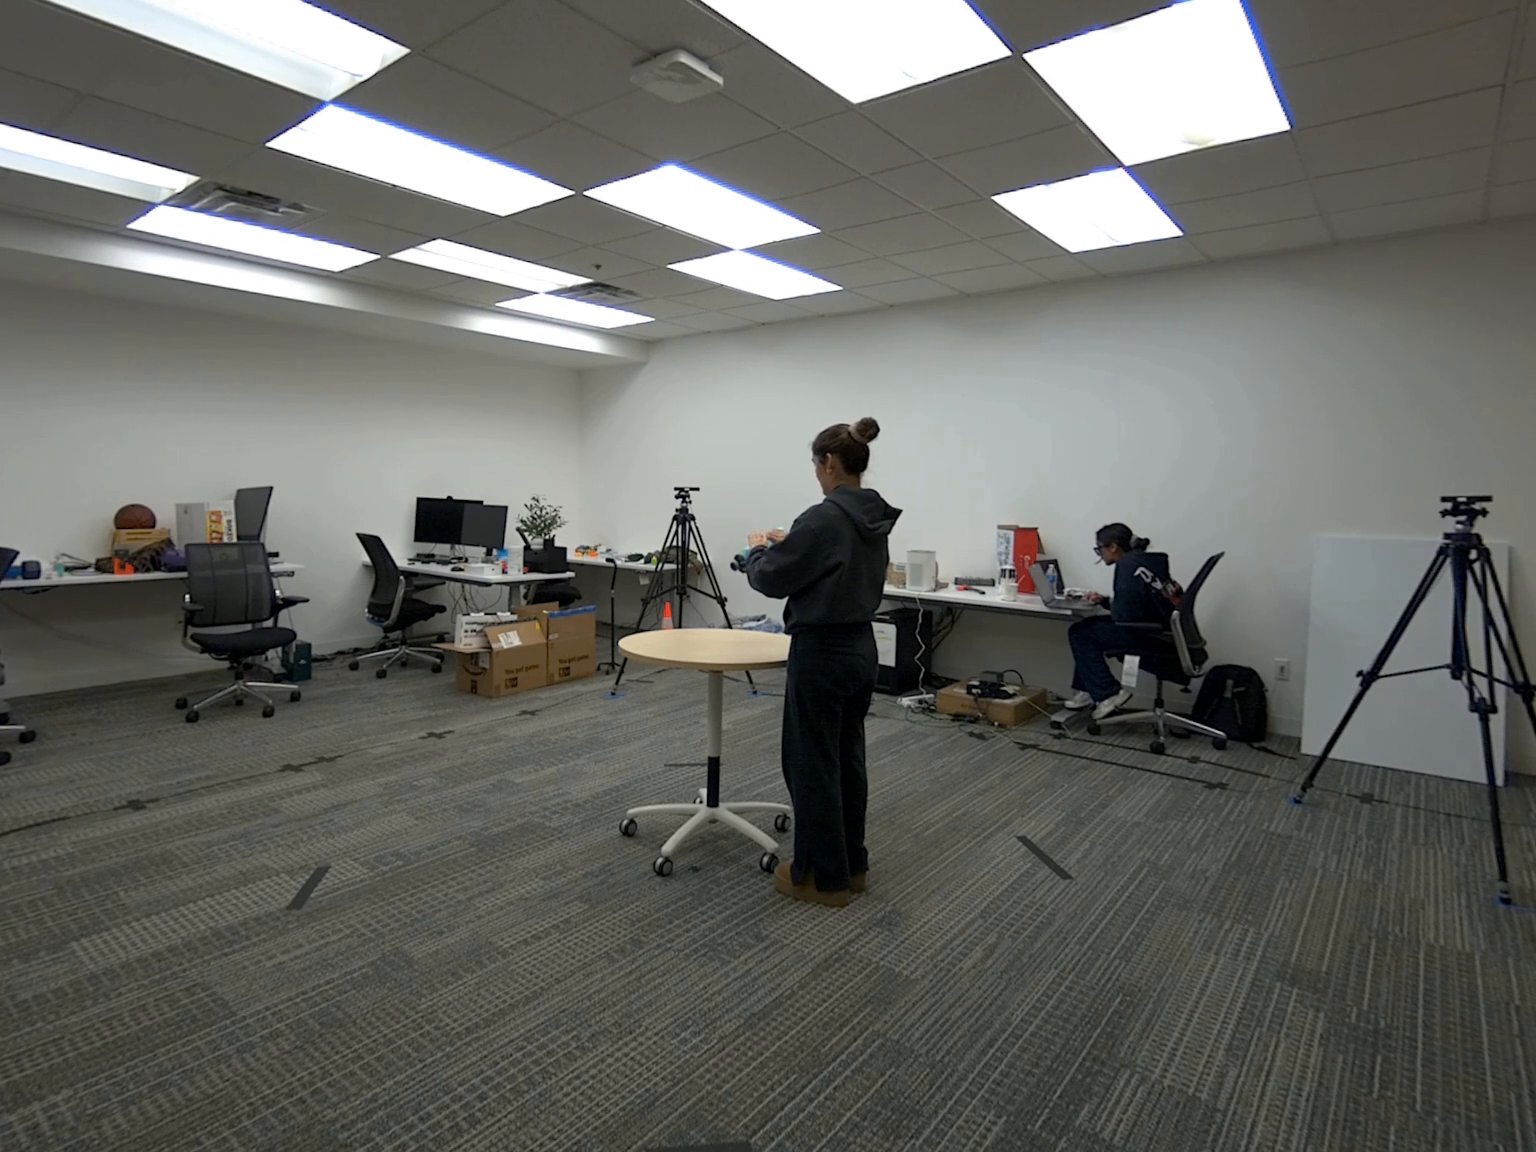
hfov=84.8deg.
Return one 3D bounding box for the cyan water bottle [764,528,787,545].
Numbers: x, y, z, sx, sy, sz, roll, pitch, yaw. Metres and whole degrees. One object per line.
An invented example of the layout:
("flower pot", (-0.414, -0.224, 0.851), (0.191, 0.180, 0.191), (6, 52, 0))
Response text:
("cyan water bottle", (-0.020, -0.097, 3.239), (0.095, 0.090, 0.280), (4, 27, 42))
